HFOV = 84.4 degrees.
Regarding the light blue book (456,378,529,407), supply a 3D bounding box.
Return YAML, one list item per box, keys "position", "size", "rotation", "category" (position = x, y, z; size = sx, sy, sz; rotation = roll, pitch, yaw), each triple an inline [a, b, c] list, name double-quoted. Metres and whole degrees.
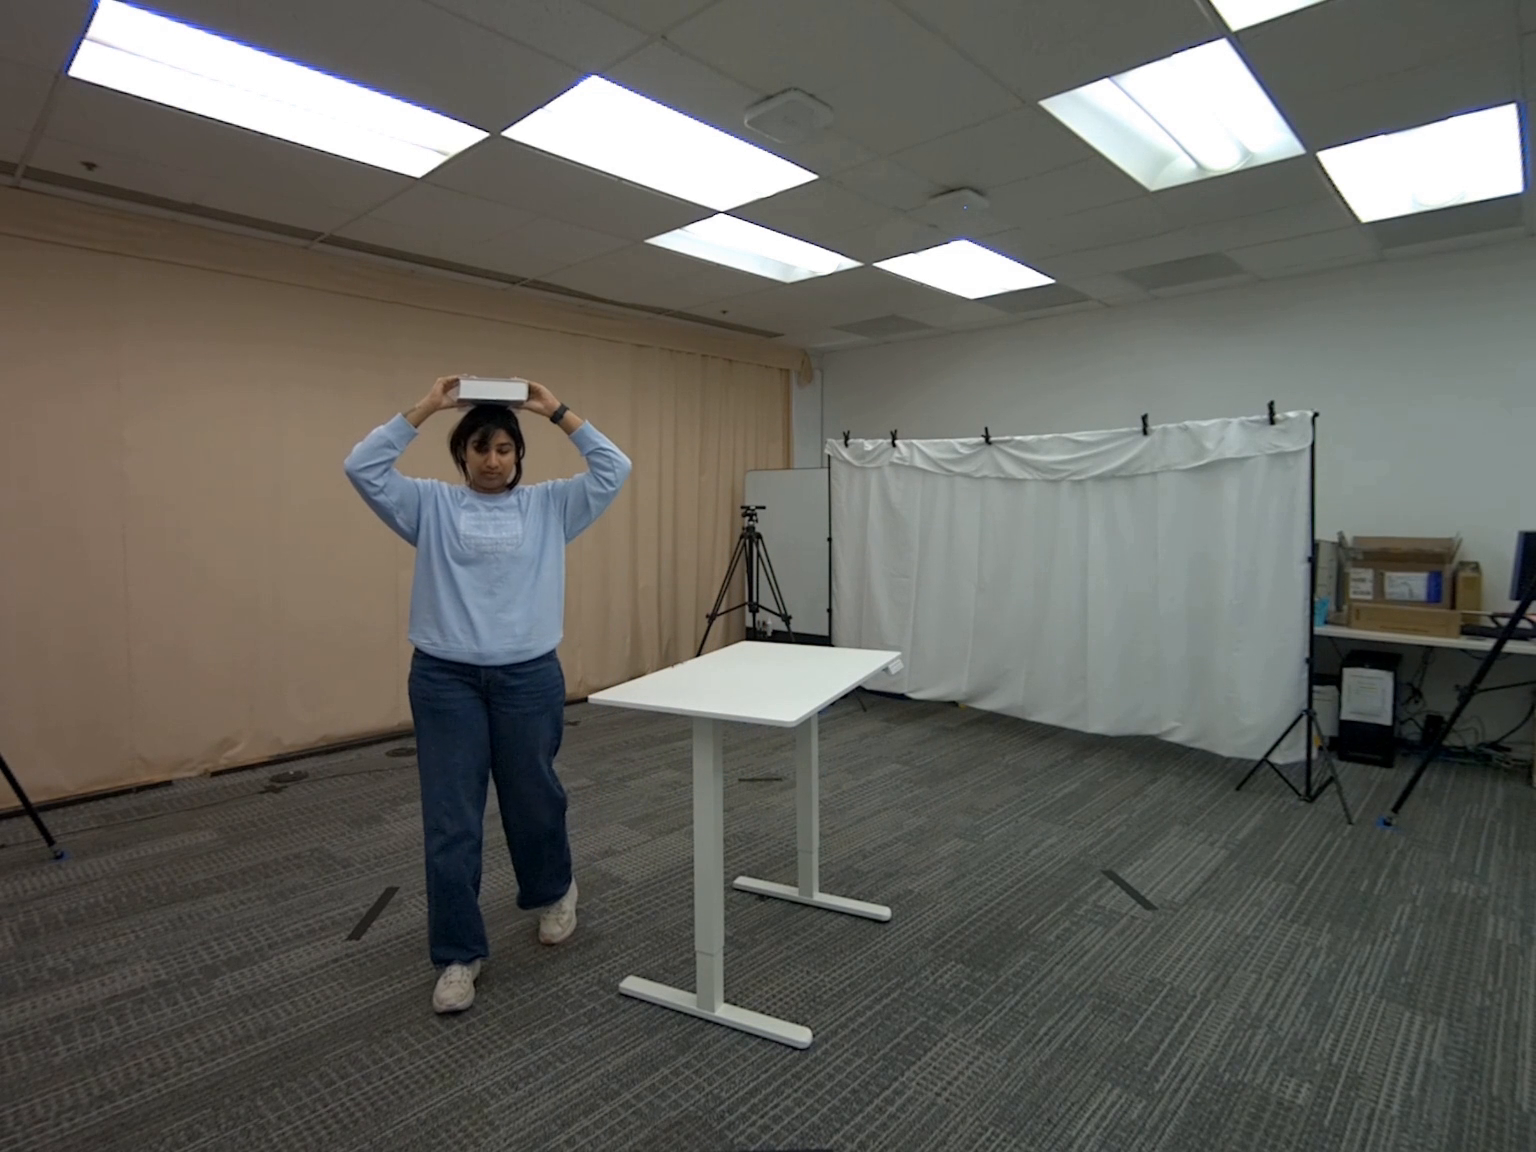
- position: [-0.812, -0.523, 2.438]
  size: [0.188, 0.059, 0.266]
  rotation: [-1, 3, -18]
  category: "light blue book"
